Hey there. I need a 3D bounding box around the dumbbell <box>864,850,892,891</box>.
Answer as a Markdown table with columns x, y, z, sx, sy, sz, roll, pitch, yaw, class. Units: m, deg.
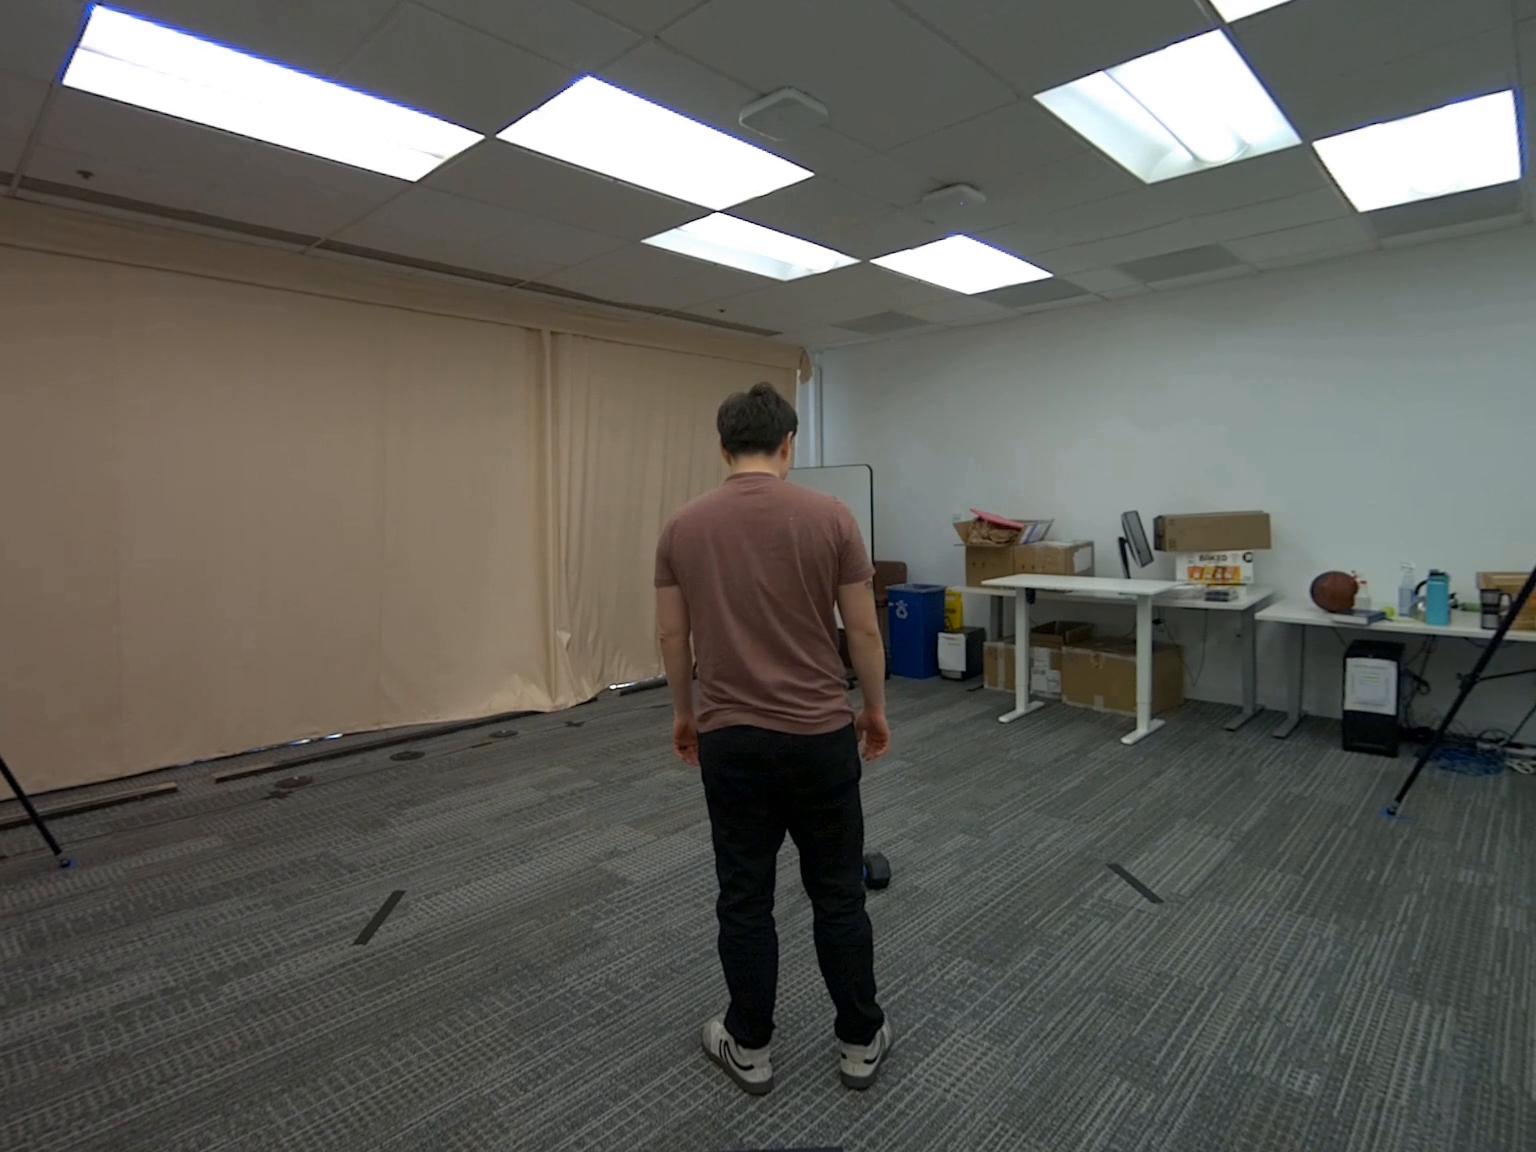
| x | y | z | sx | sy | sz | roll | pitch | yaw | class |
| --- | --- | --- | --- | --- | --- | --- | --- | --- | --- |
| 0.294 | 1.075 | 3.038 | 0.291 | 0.121 | 0.111 | -1 | 34 | -9 | dumbbell |
